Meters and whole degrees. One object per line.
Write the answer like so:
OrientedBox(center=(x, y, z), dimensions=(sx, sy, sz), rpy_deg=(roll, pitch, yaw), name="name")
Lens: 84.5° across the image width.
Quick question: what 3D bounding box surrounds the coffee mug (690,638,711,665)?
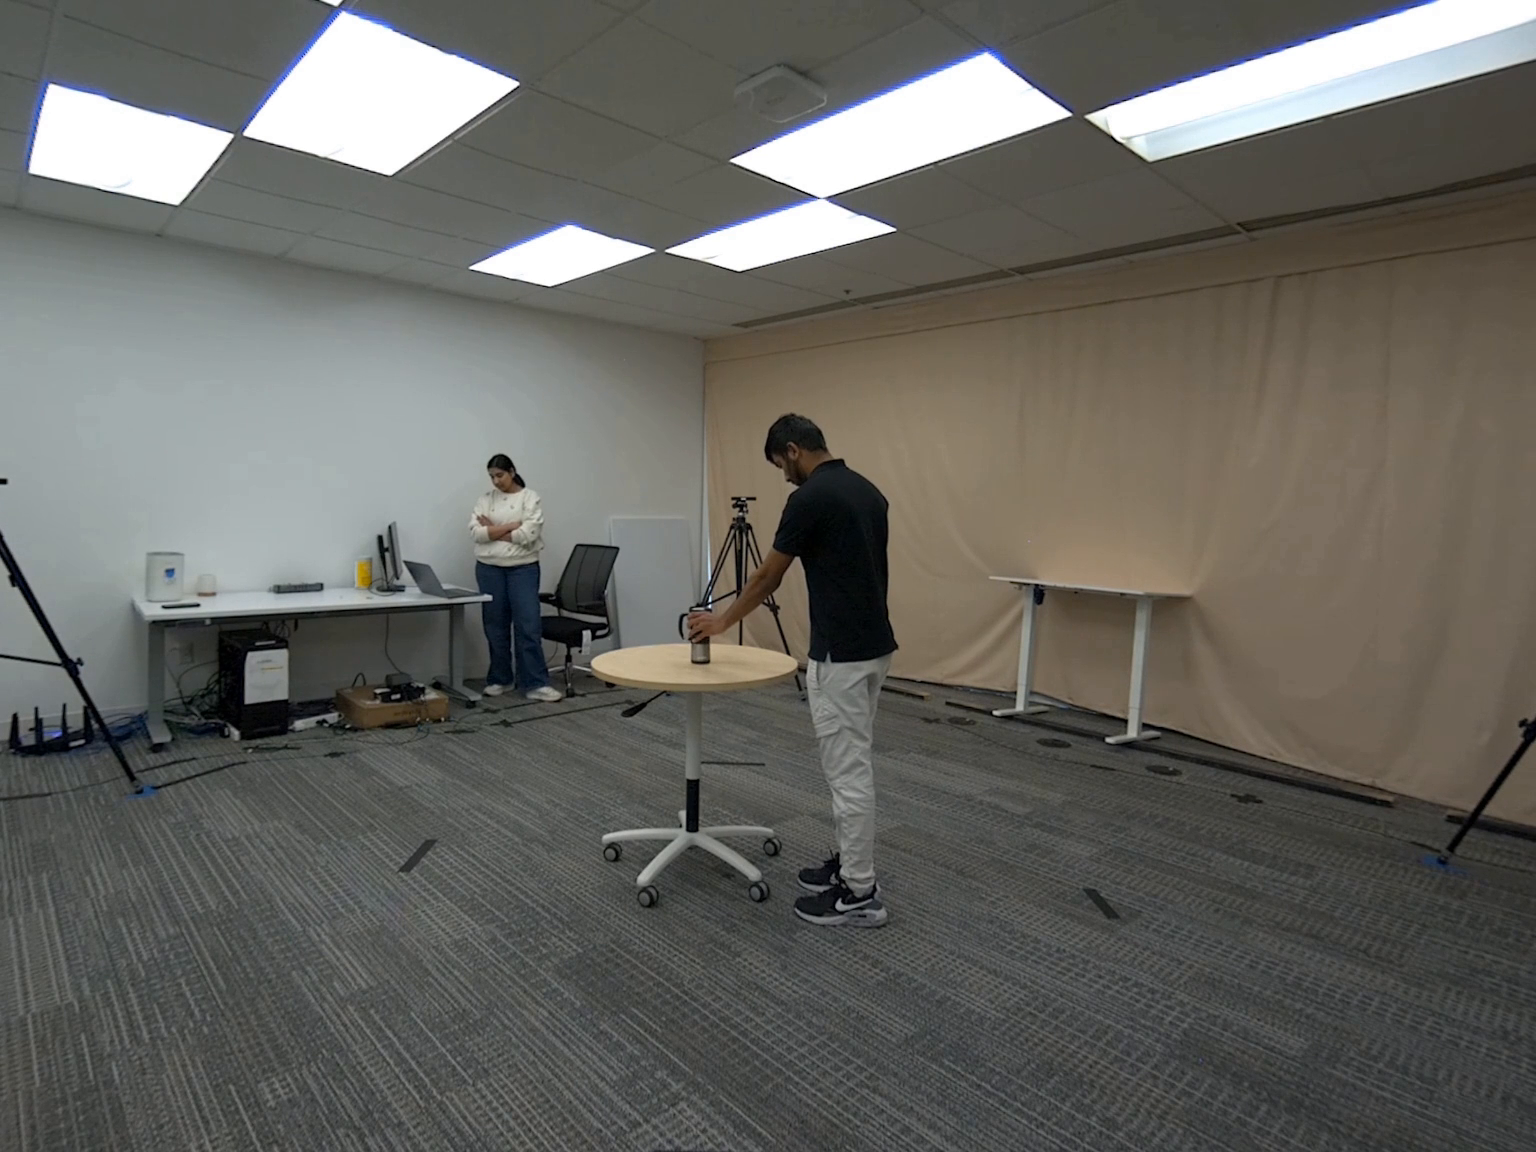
OrientedBox(center=(-0.263, 0.220, 3.112), dimensions=(0.123, 0.202, 0.087), rpy_deg=(5, 5, 11), name="coffee mug")
